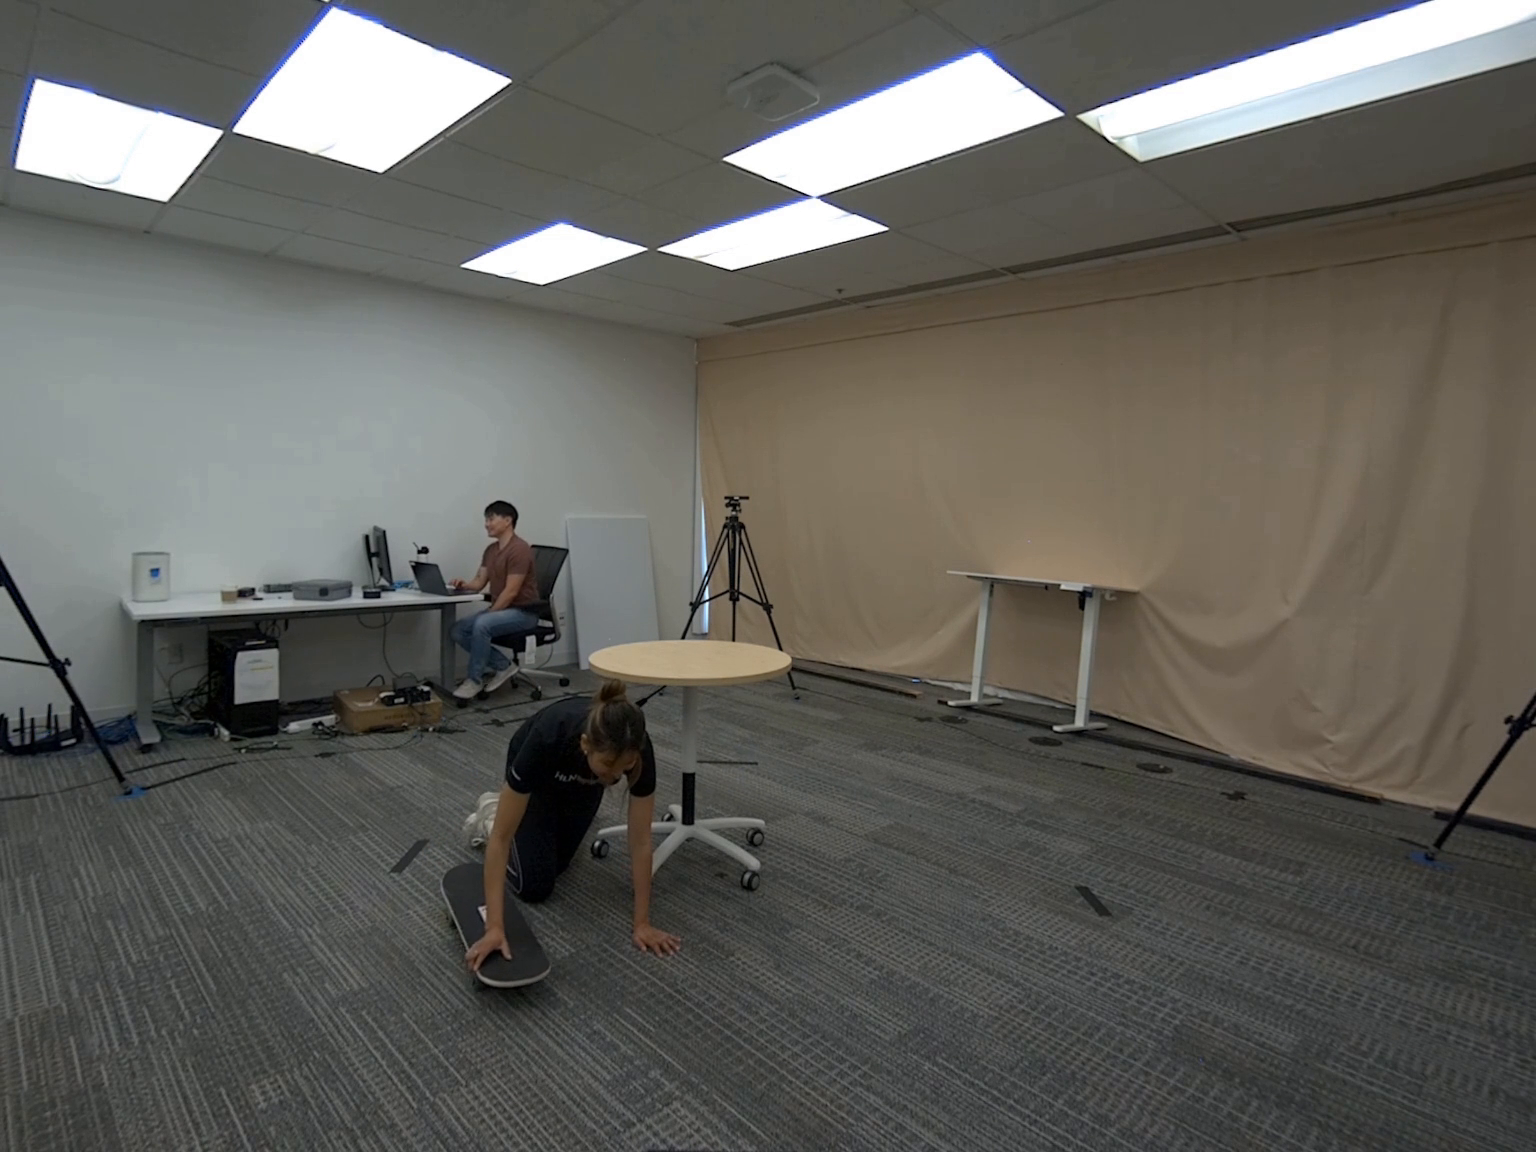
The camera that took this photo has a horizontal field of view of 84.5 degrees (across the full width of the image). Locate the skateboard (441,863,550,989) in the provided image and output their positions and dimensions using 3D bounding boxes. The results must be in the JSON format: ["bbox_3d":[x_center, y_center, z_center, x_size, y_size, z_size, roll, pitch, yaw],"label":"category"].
[{"bbox_3d":[-0.846,1.085,2.560,0.189,0.110,0.803,-2,6,-30],"label":"skateboard"}]
